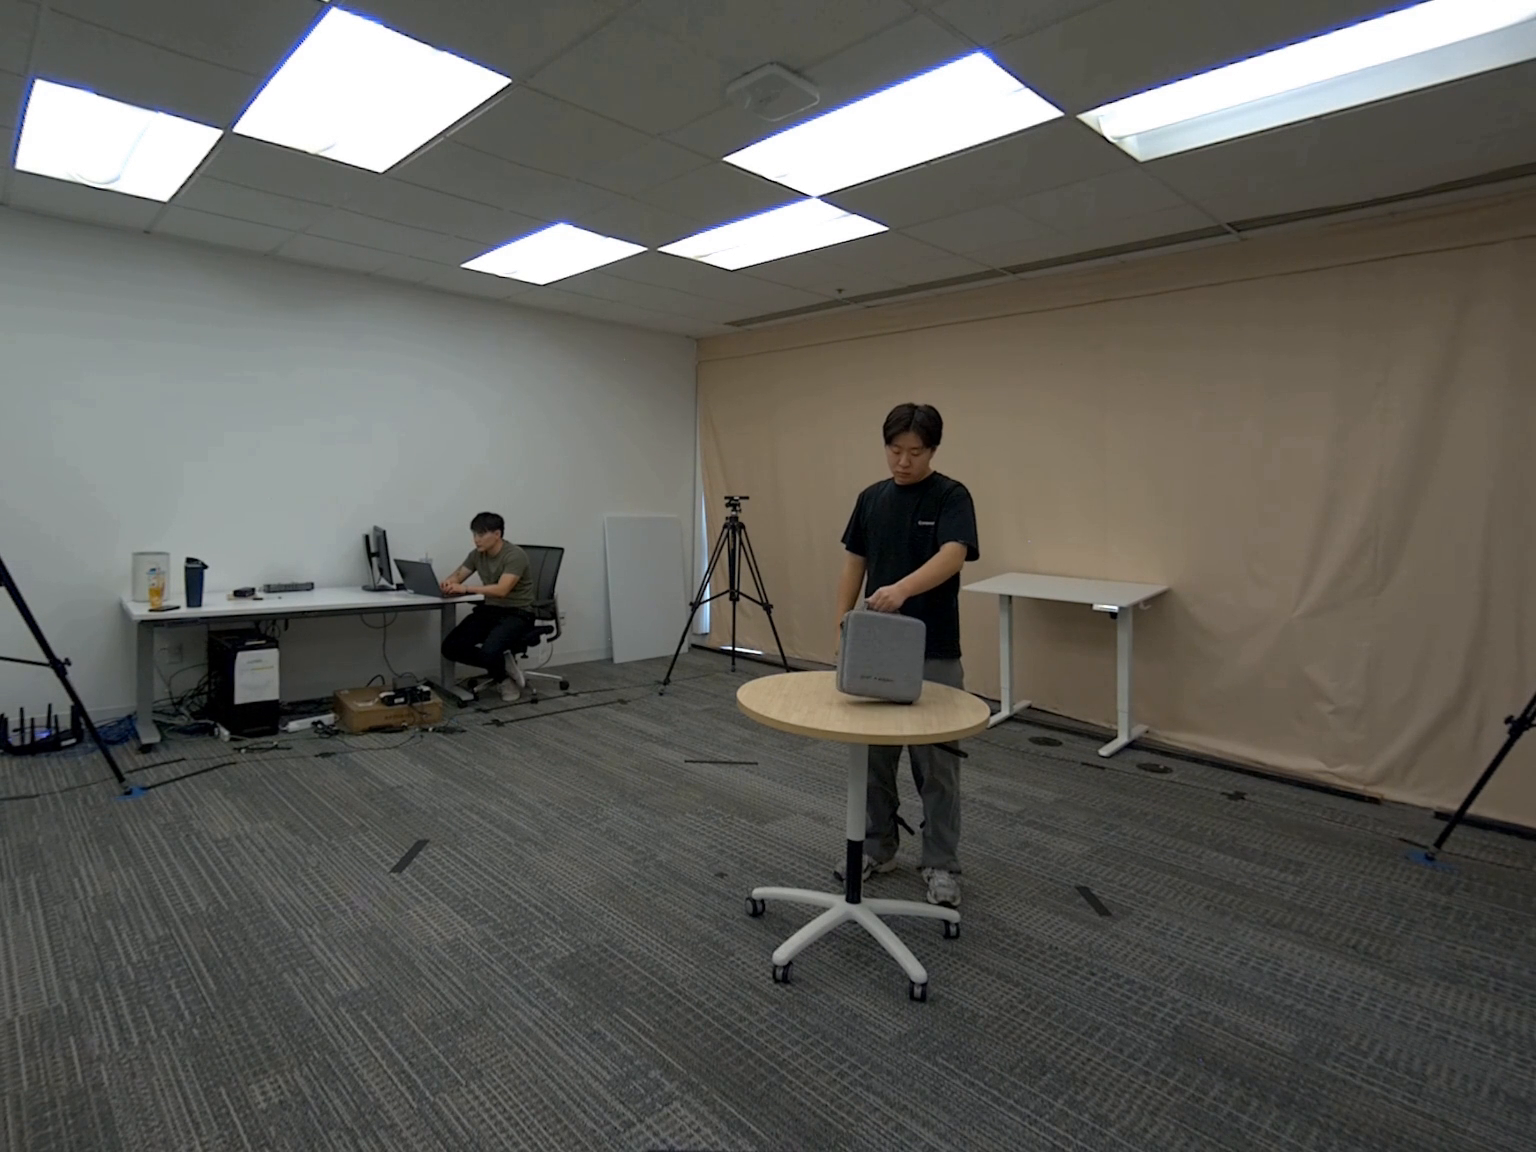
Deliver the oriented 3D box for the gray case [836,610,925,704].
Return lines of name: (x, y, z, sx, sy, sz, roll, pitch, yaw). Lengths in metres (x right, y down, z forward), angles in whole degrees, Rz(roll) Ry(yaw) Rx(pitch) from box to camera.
gray case: (0.336, 0.232, 2.562, 0.261, 0.289, 0.103, 10, -11, -10)
